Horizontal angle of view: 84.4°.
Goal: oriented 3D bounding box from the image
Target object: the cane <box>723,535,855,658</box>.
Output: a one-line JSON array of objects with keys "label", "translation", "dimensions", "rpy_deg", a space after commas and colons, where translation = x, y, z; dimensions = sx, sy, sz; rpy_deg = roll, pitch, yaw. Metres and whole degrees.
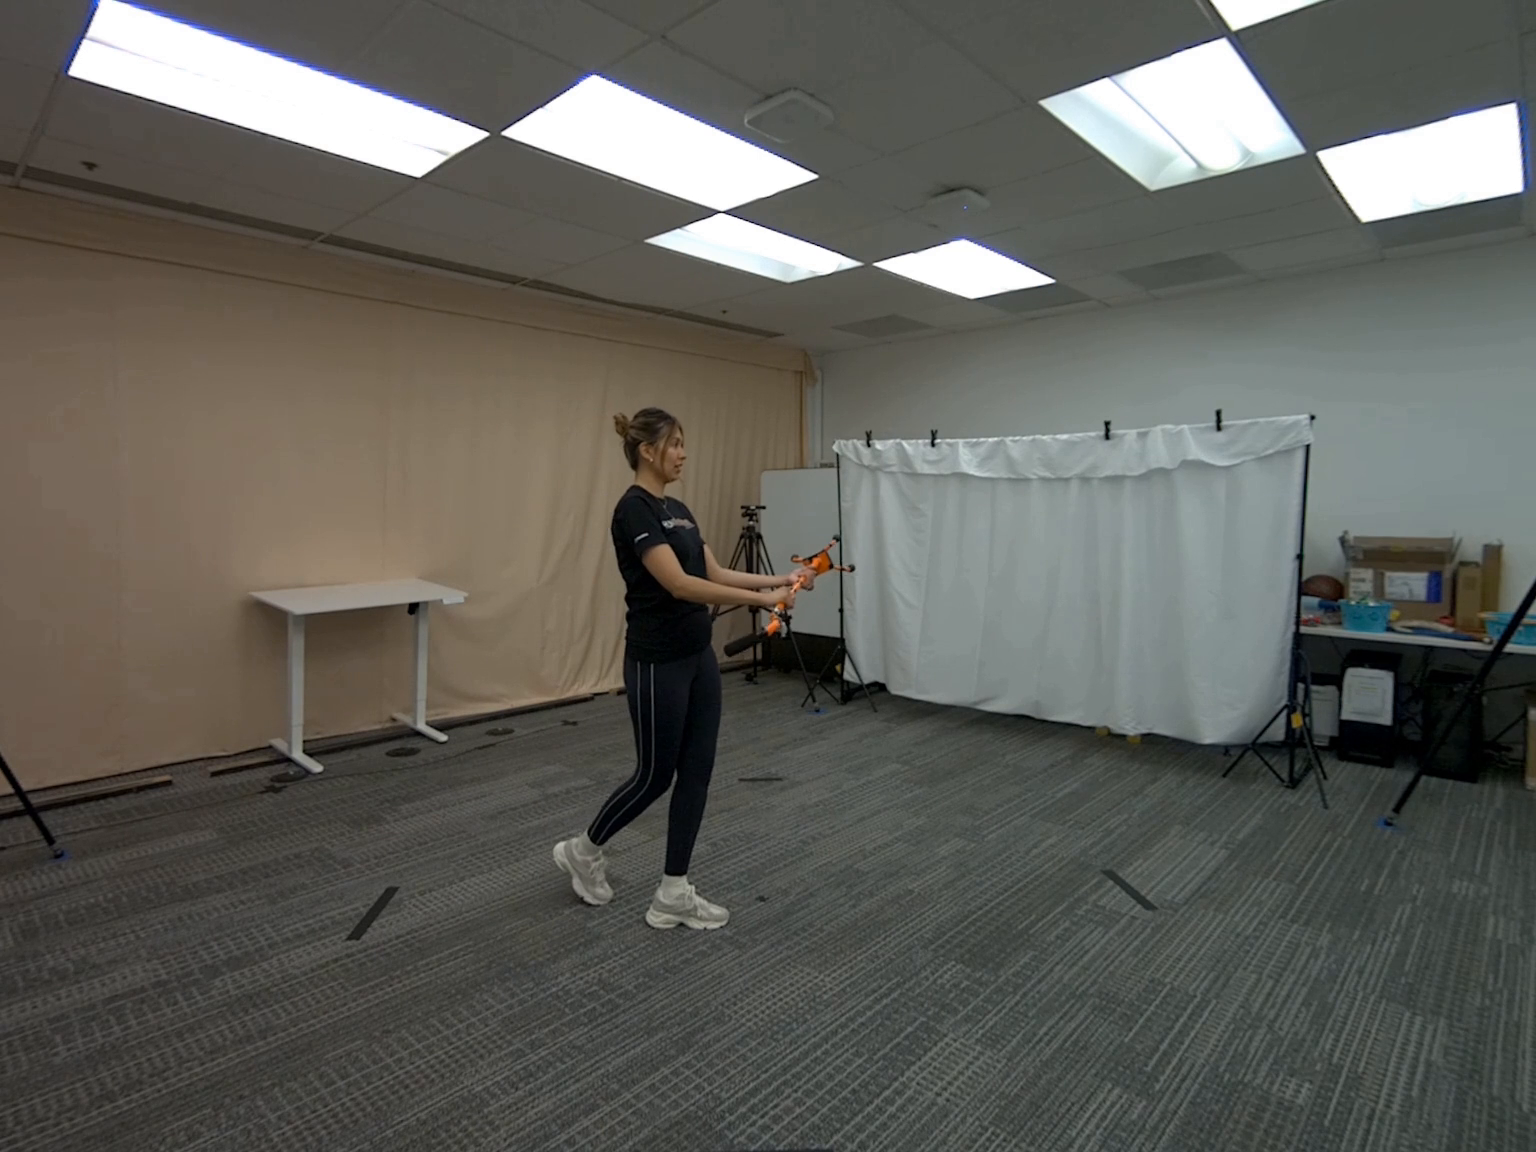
[{"label": "cane", "translation": [0.088, 0.065, 2.701], "dimensions": [0.209, 0.151, 0.899], "rpy_deg": [-27, 6, 21]}]
